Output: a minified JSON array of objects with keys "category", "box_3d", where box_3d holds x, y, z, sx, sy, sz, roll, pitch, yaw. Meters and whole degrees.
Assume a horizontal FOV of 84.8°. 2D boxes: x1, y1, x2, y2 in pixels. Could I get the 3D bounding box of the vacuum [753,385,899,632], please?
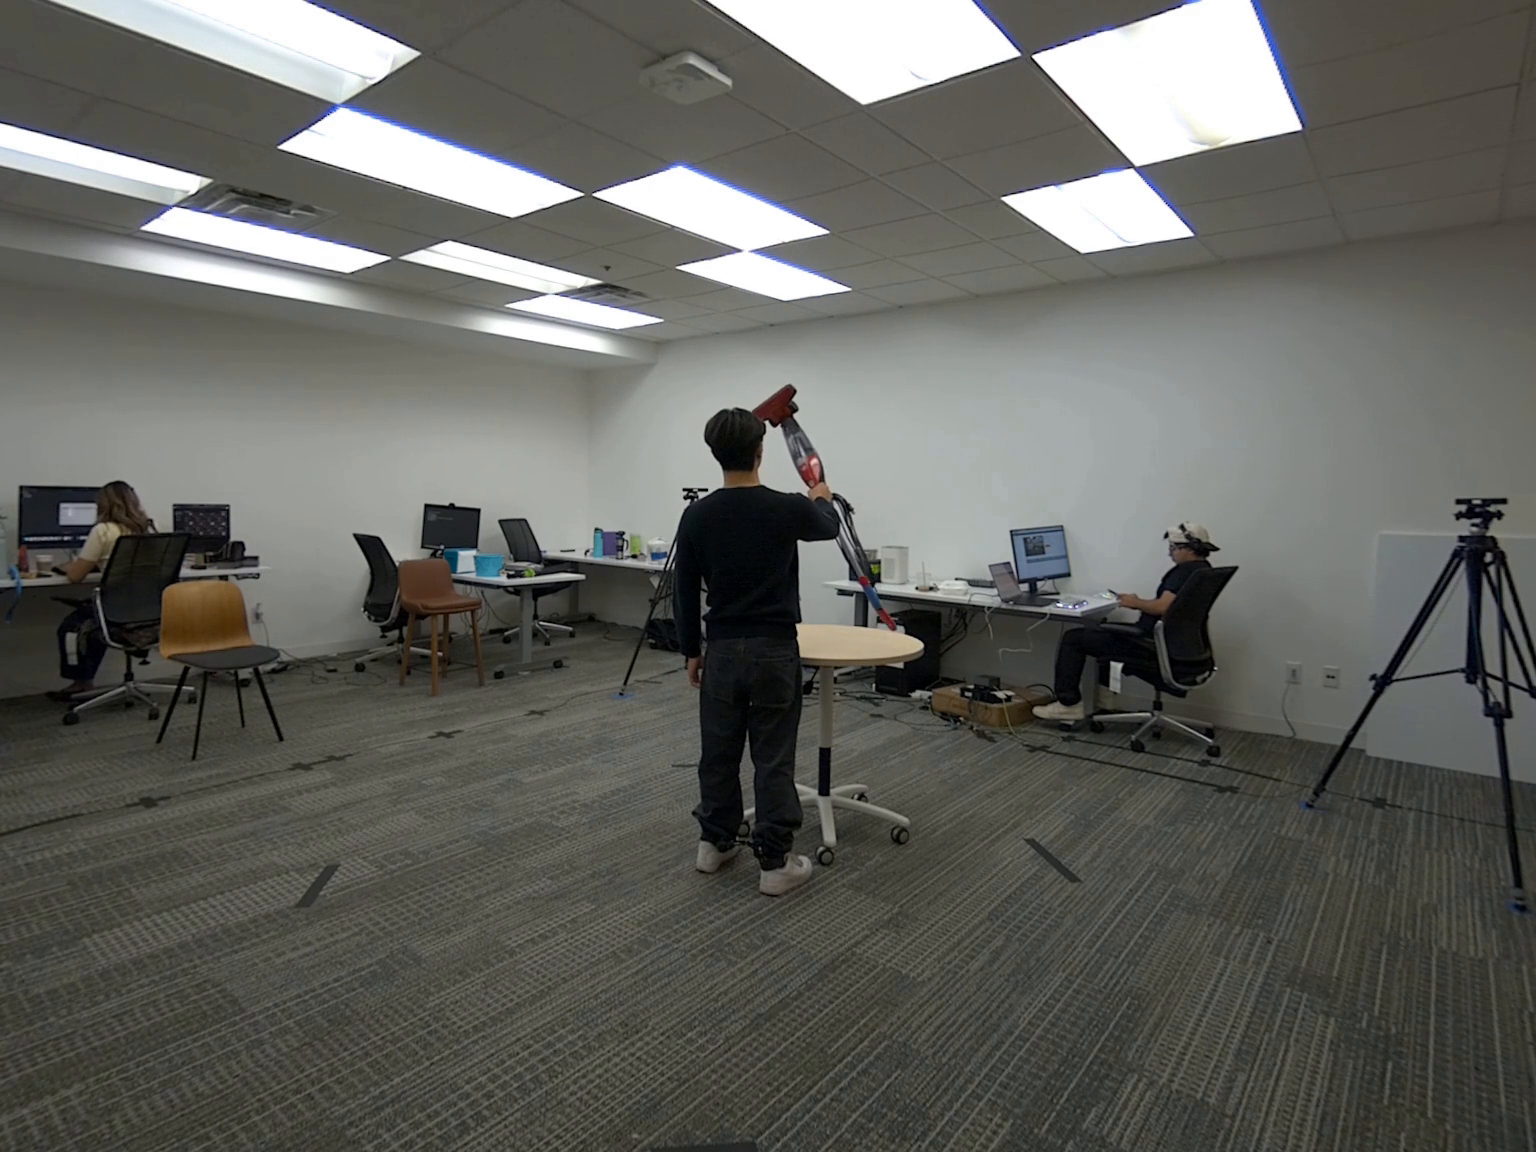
[{"category":"vacuum","box_3d":[0.262,-0.262,3.480,0.254,1.068,0.140,-33,-14,22]}]
